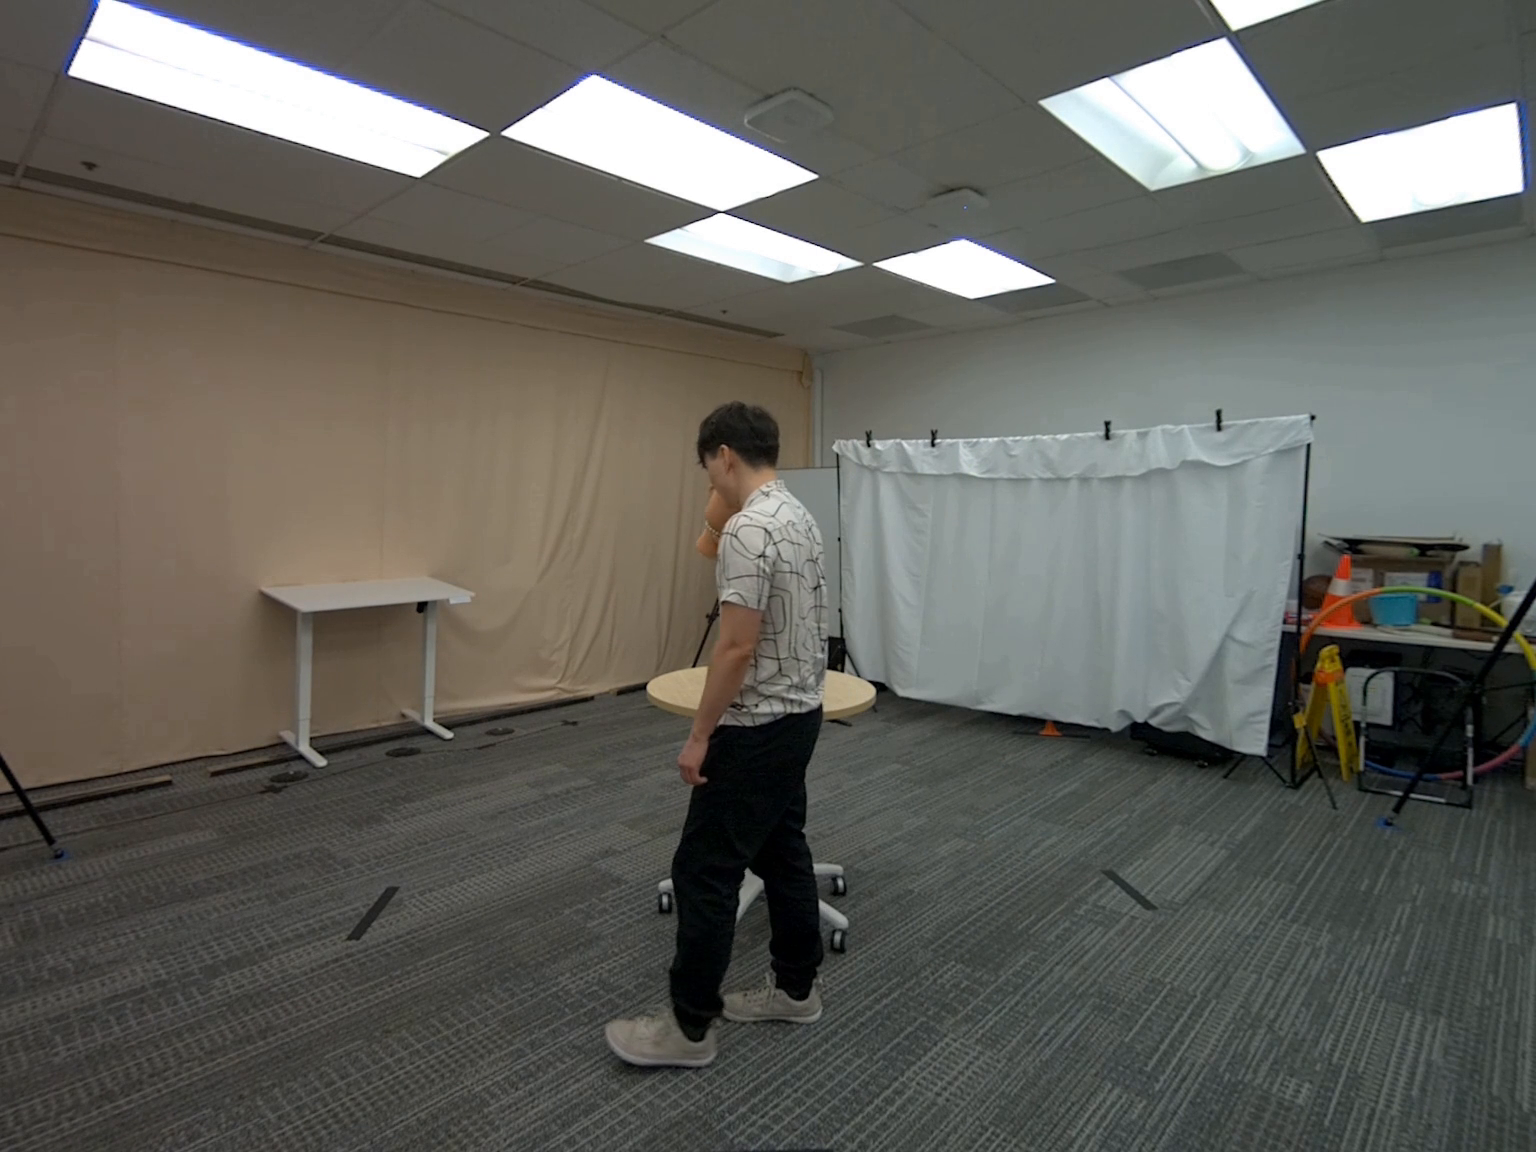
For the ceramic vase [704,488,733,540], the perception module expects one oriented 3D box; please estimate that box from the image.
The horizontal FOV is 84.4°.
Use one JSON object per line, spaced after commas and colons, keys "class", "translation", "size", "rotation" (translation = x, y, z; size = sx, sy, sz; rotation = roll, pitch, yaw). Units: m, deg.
{"class": "ceramic vase", "translation": [-0.126, -0.168, 2.542], "size": [0.132, 0.219, 0.162], "rotation": [19, 25, -20]}
